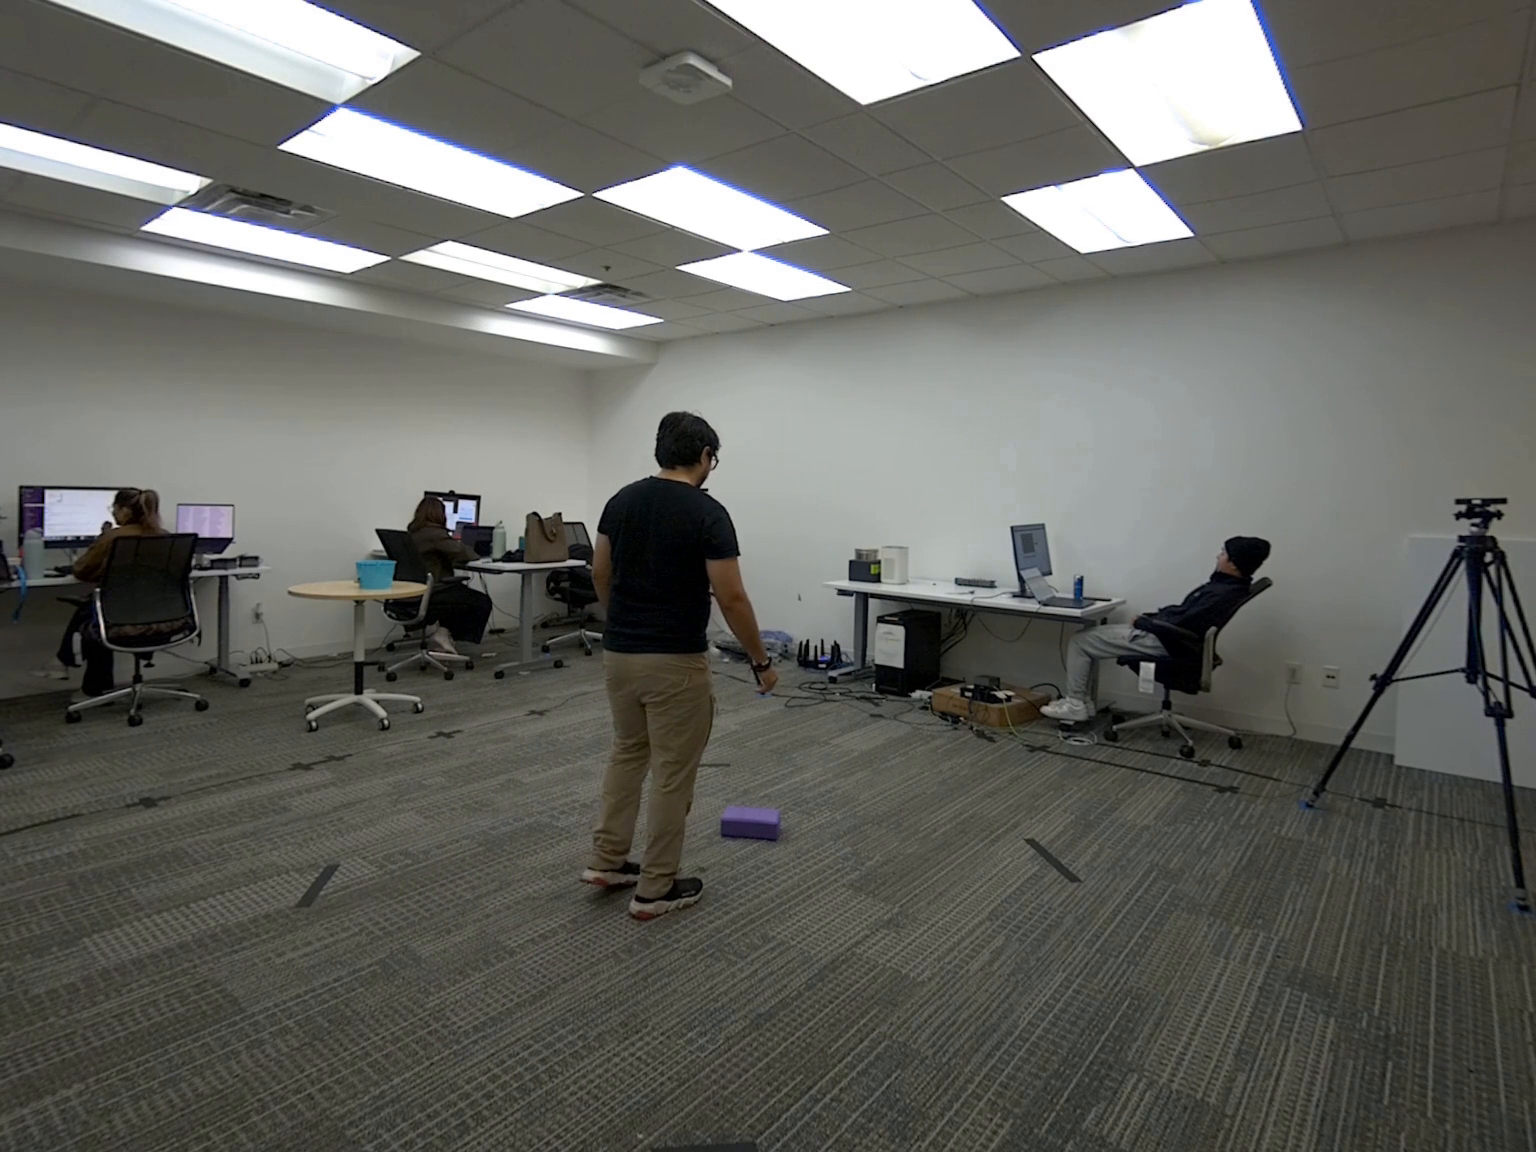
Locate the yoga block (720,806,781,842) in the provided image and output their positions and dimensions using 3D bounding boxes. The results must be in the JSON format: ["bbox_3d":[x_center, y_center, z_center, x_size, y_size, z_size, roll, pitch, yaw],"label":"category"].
[{"bbox_3d":[-0.080,0.995,3.458,0.232,0.076,0.148,3,7,9],"label":"yoga block"}]
